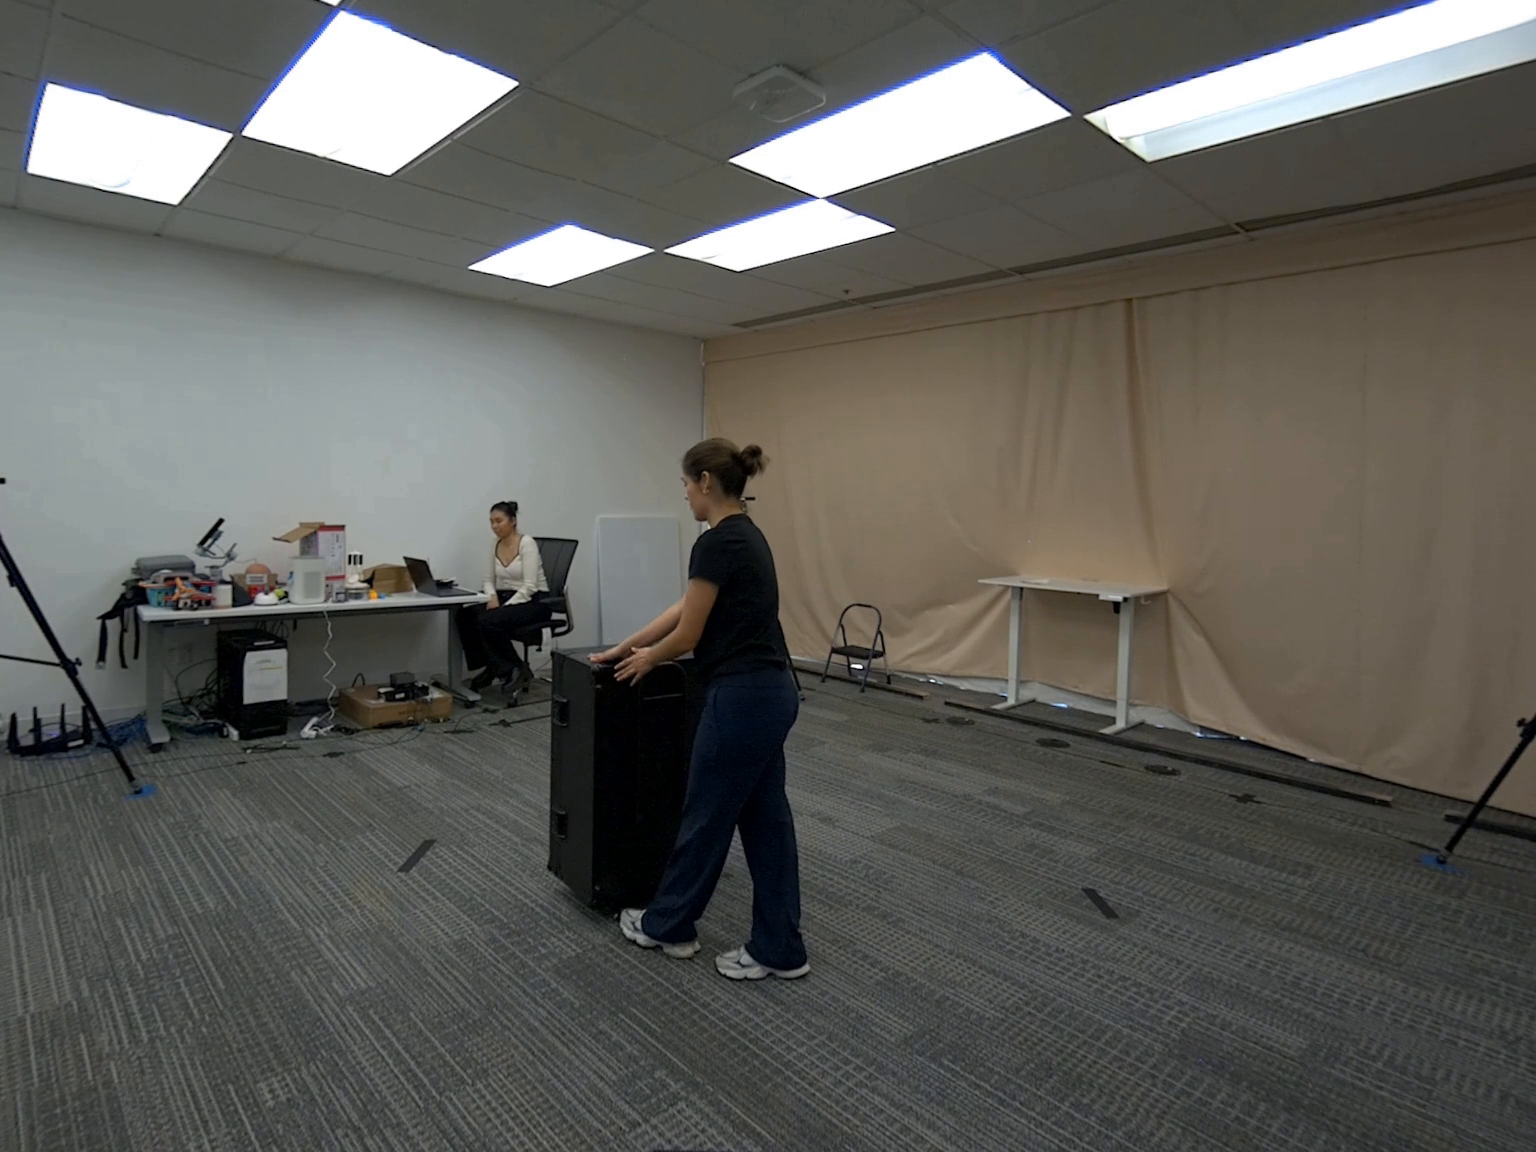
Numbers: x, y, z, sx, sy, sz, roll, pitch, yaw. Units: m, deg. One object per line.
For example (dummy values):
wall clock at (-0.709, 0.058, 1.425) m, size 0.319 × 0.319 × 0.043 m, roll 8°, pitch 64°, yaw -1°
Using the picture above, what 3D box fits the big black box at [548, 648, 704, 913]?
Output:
big black box at (-0.456, 0.693, 2.920) m, size 0.510 × 0.859 × 0.406 m, roll -1°, pitch 4°, yaw -36°
